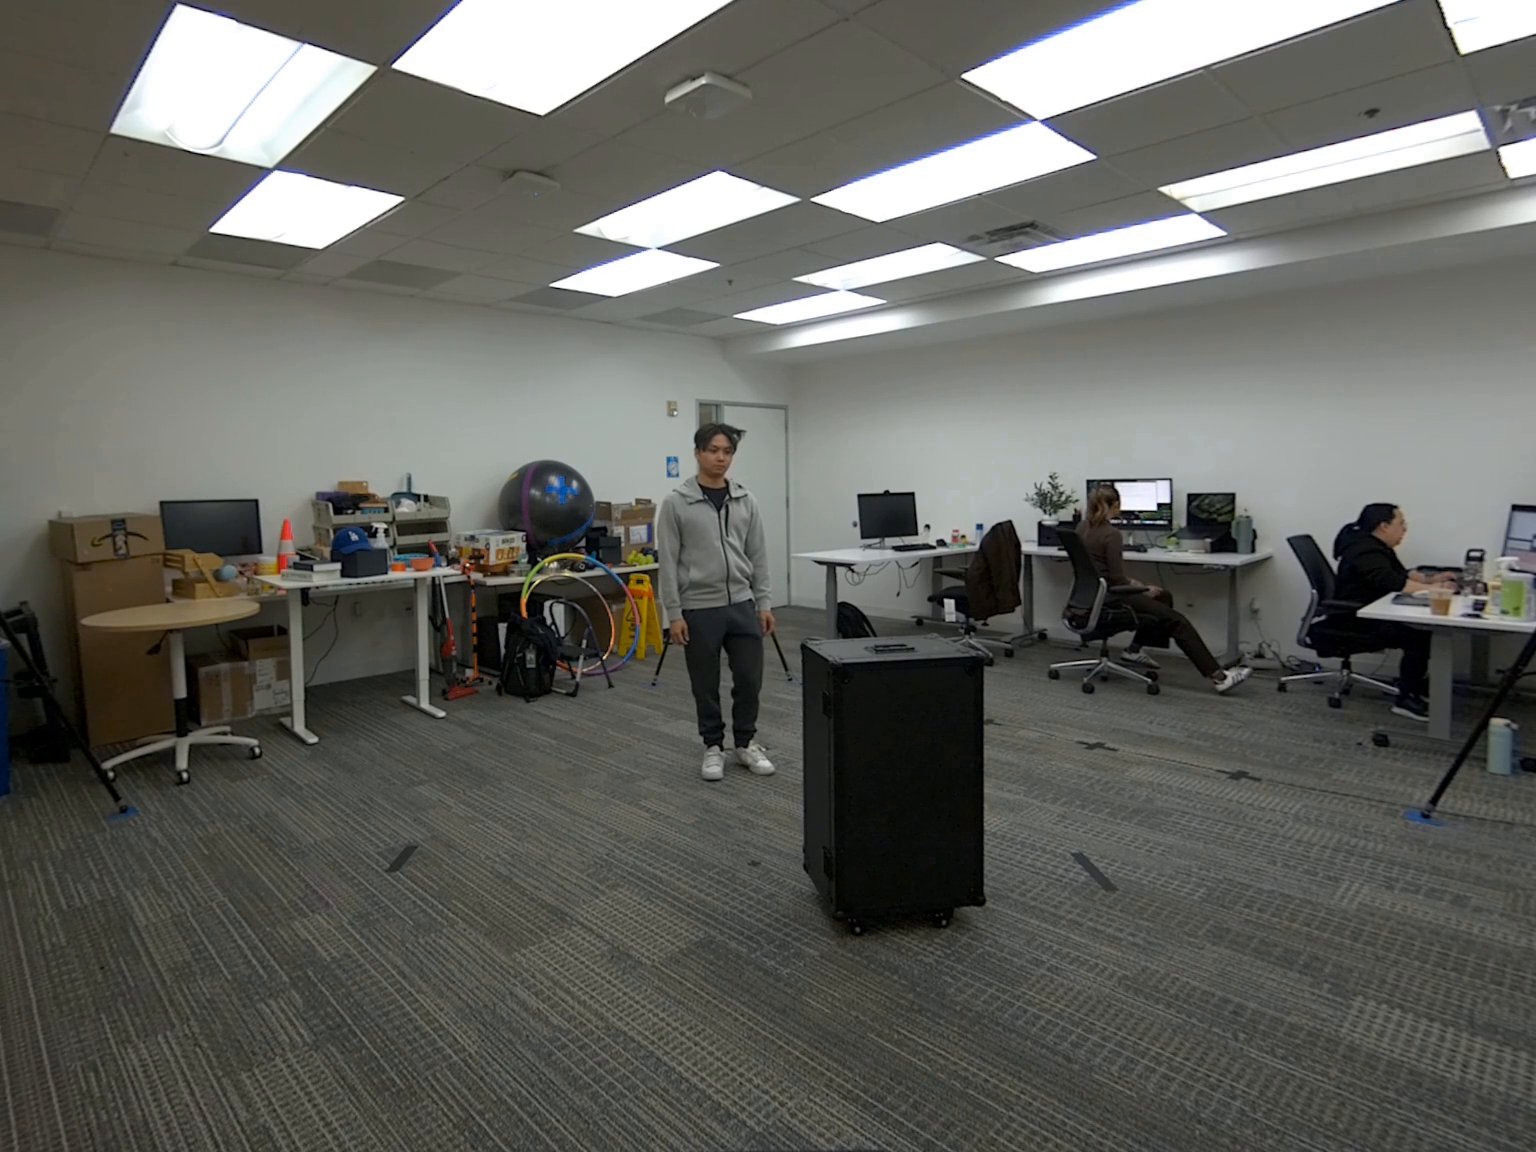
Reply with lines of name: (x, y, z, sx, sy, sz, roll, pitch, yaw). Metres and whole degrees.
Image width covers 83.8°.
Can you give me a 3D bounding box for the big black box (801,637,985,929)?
big black box: (0.400, 0.594, 2.750, 0.516, 0.858, 0.402, -2, 4, -12)
